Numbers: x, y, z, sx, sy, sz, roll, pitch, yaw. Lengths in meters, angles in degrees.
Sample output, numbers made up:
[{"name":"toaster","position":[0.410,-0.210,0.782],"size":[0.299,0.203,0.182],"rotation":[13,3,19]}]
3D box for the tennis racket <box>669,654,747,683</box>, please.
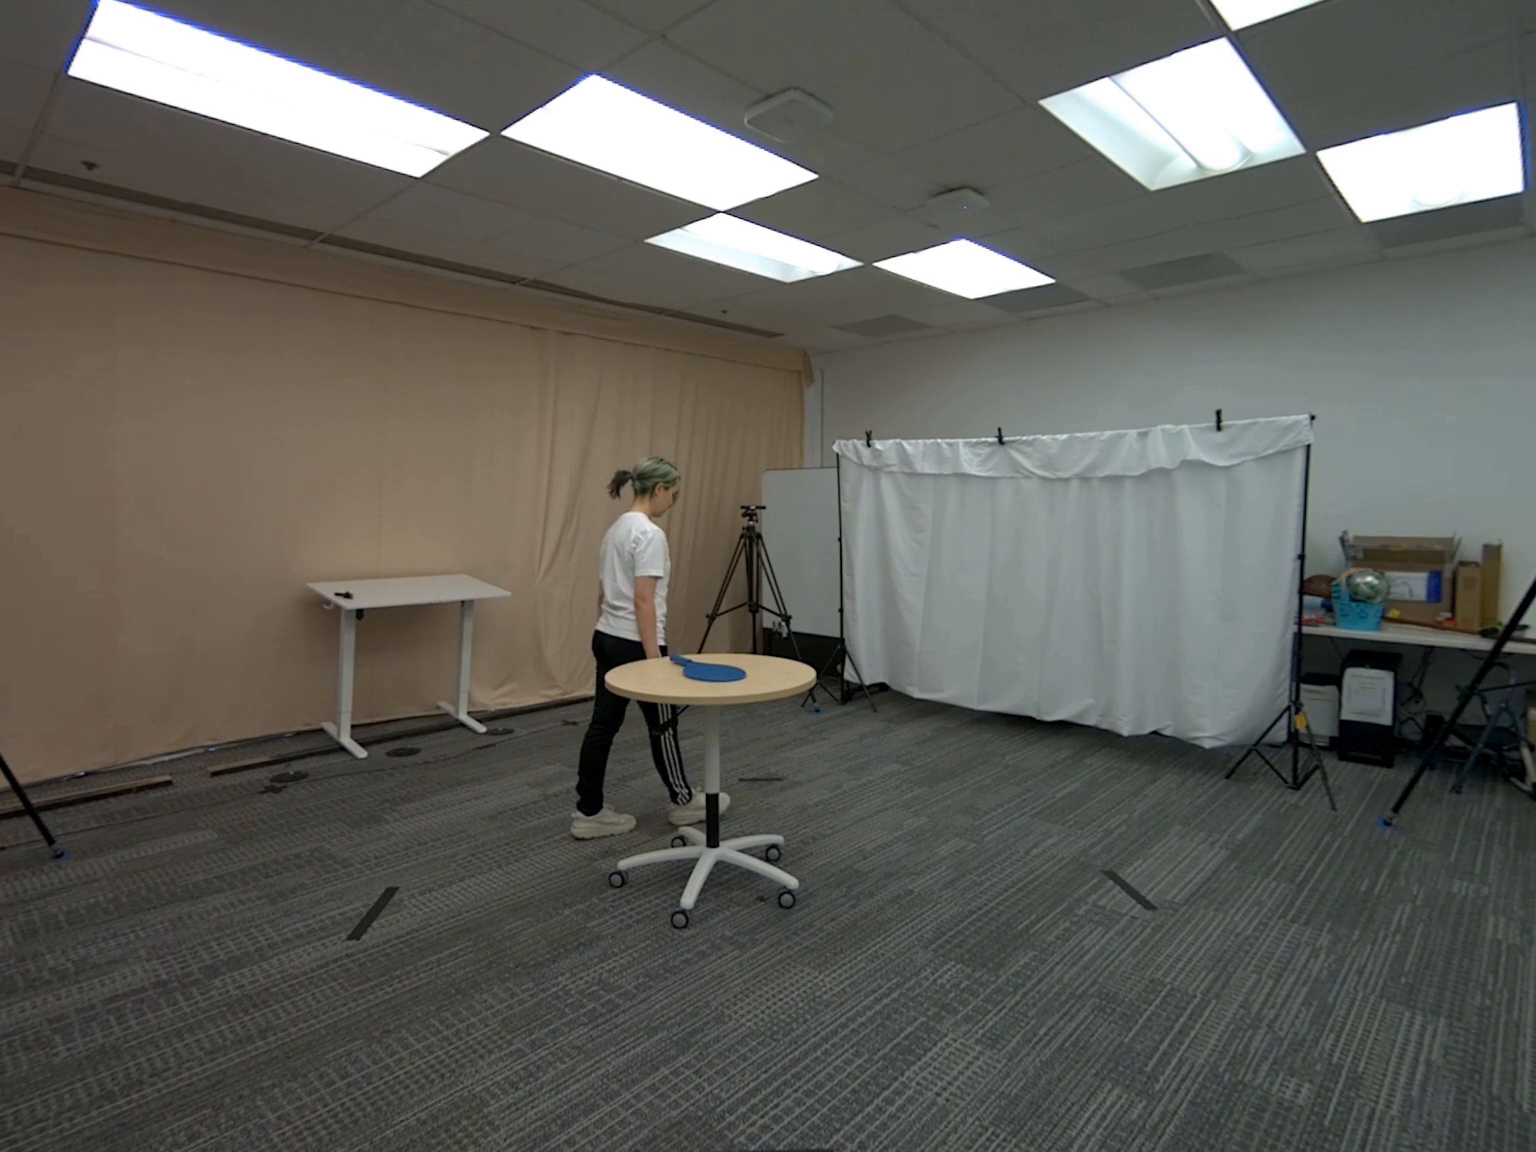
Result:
[{"name":"tennis racket","position":[-0.238,0.342,3.095],"size":[0.207,0.031,0.447],"rotation":[-4,7,-37]}]
